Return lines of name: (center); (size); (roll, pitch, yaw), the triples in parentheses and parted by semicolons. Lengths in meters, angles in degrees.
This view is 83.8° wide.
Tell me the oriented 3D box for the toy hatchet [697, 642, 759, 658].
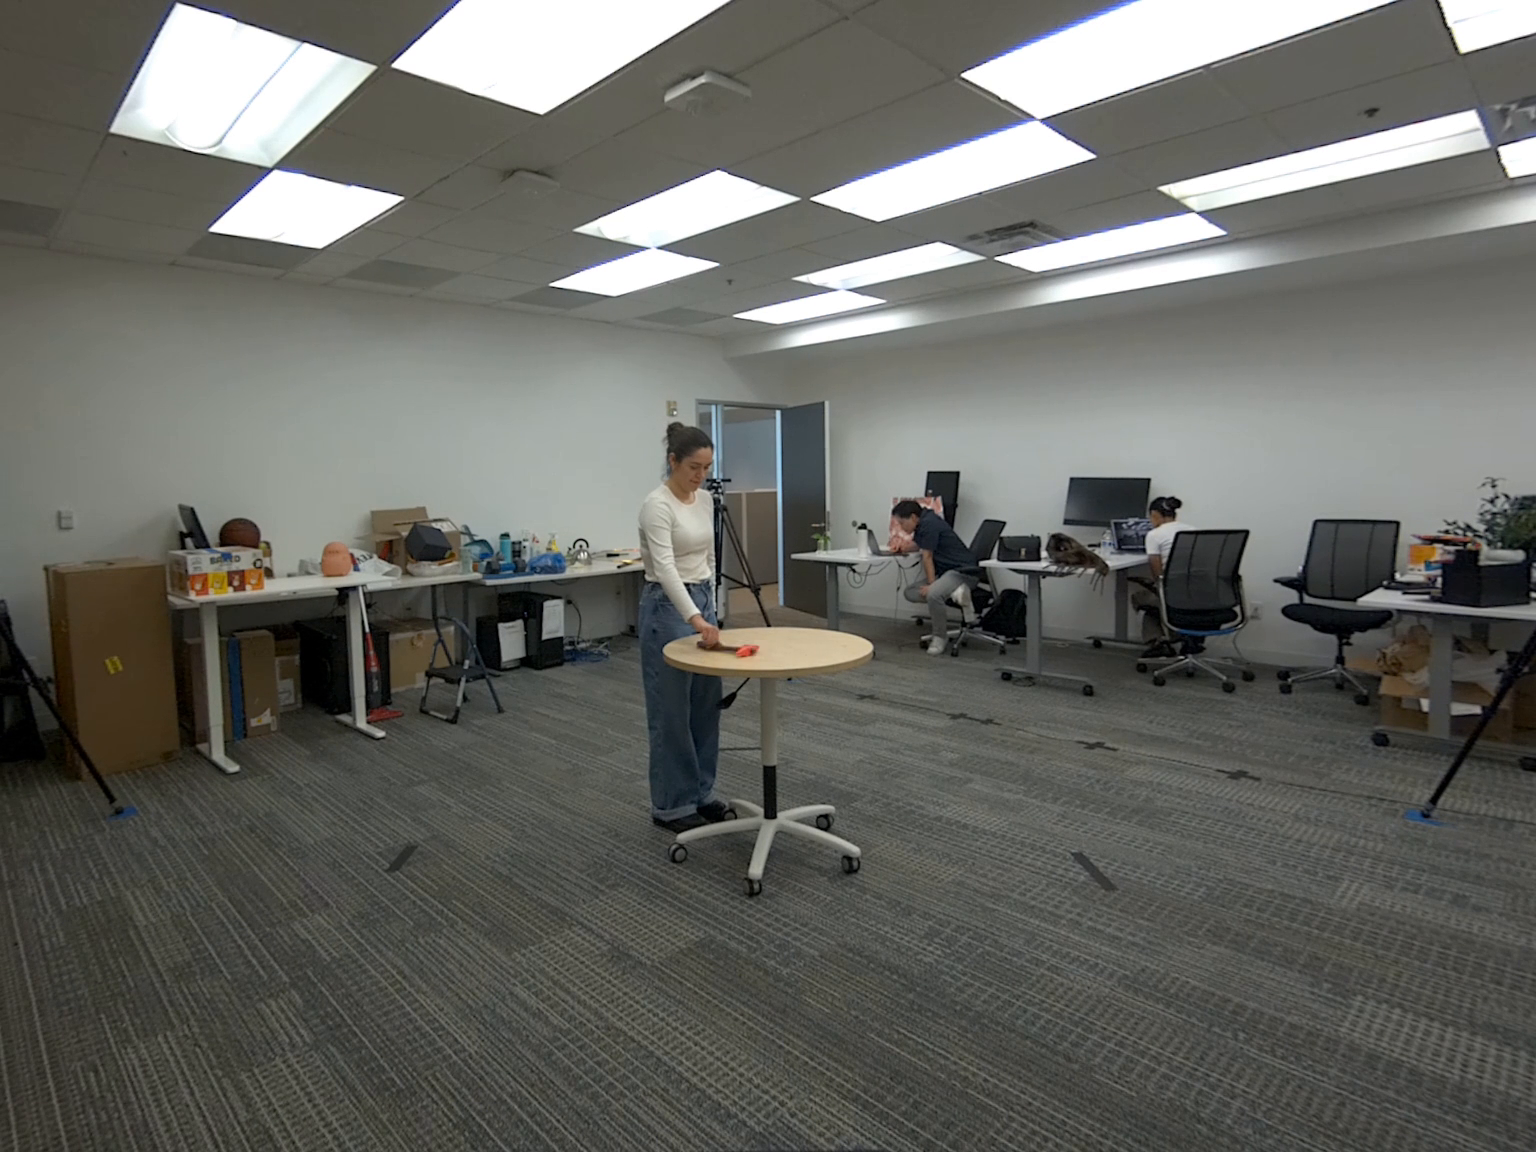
toy hatchet: (-0.139, 0.256, 3.080); (0.128, 0.029, 0.278); (-11, 9, -35)
